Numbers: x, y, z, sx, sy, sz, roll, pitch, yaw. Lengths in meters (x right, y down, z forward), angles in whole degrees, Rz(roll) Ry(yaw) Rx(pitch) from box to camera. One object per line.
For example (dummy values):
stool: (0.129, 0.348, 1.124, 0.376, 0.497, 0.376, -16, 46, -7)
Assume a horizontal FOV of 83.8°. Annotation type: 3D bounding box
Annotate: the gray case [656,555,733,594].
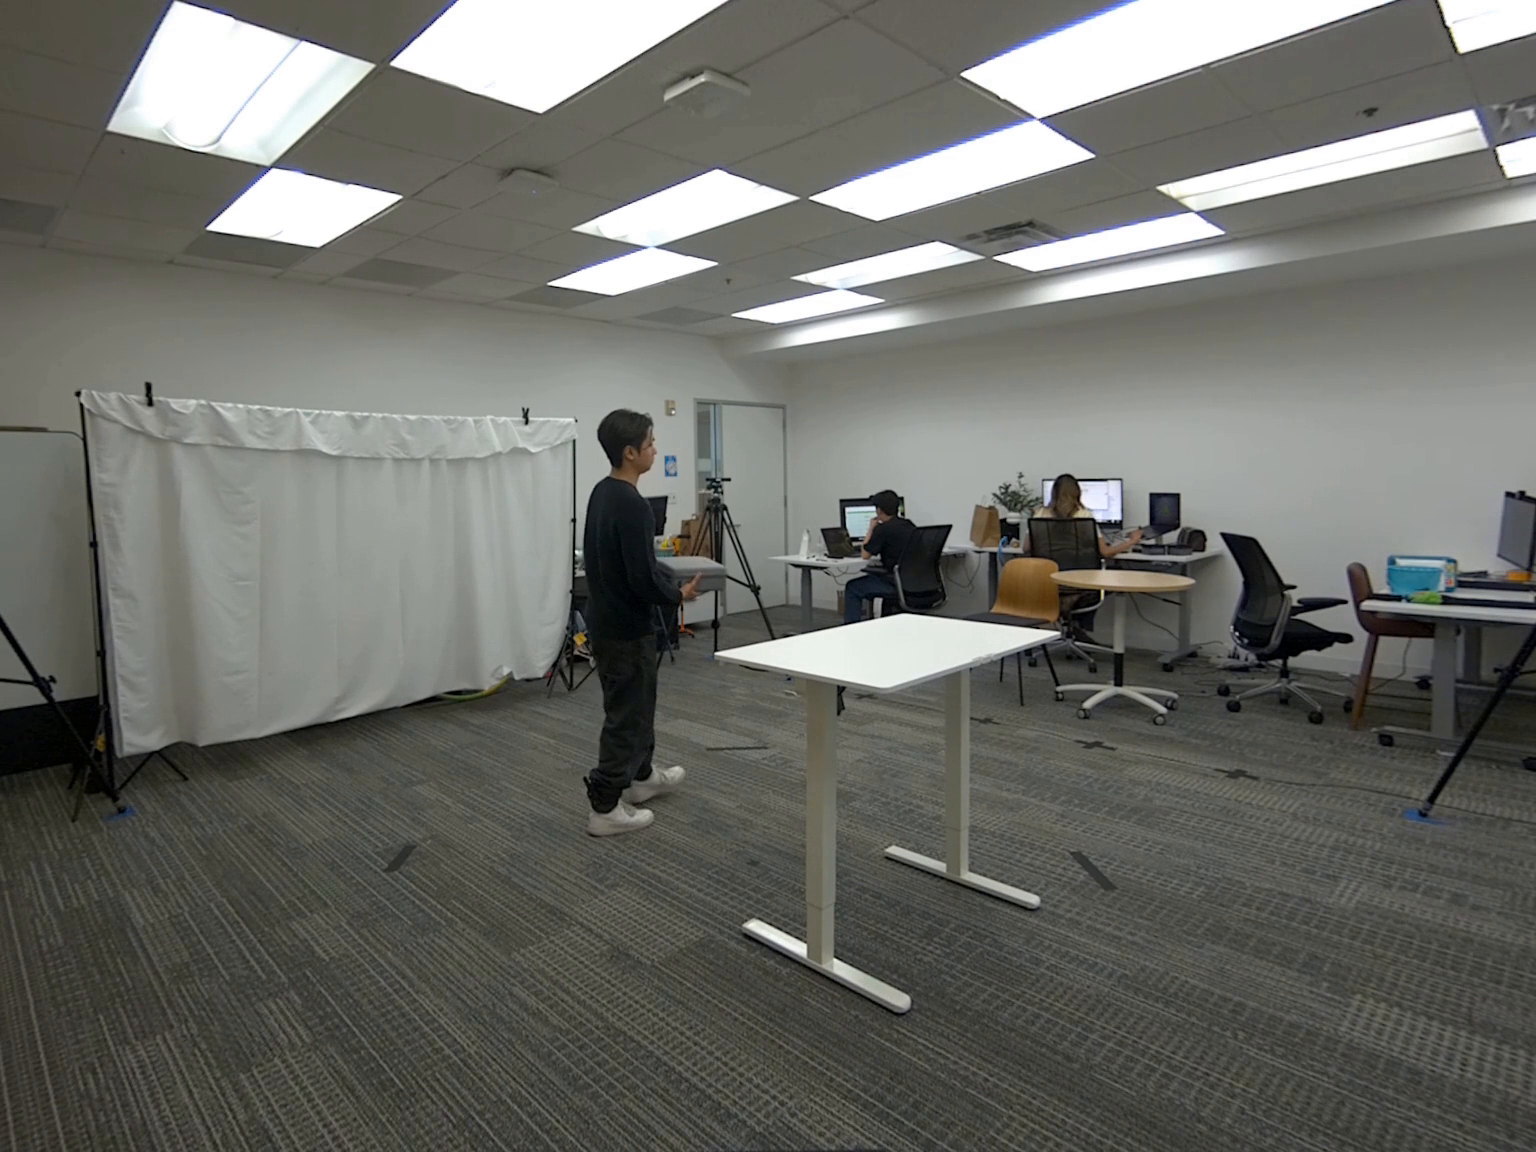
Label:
gray case: (-0.322, -0.011, 3.534, 0.252, 0.103, 0.268, -1, 12, -23)
